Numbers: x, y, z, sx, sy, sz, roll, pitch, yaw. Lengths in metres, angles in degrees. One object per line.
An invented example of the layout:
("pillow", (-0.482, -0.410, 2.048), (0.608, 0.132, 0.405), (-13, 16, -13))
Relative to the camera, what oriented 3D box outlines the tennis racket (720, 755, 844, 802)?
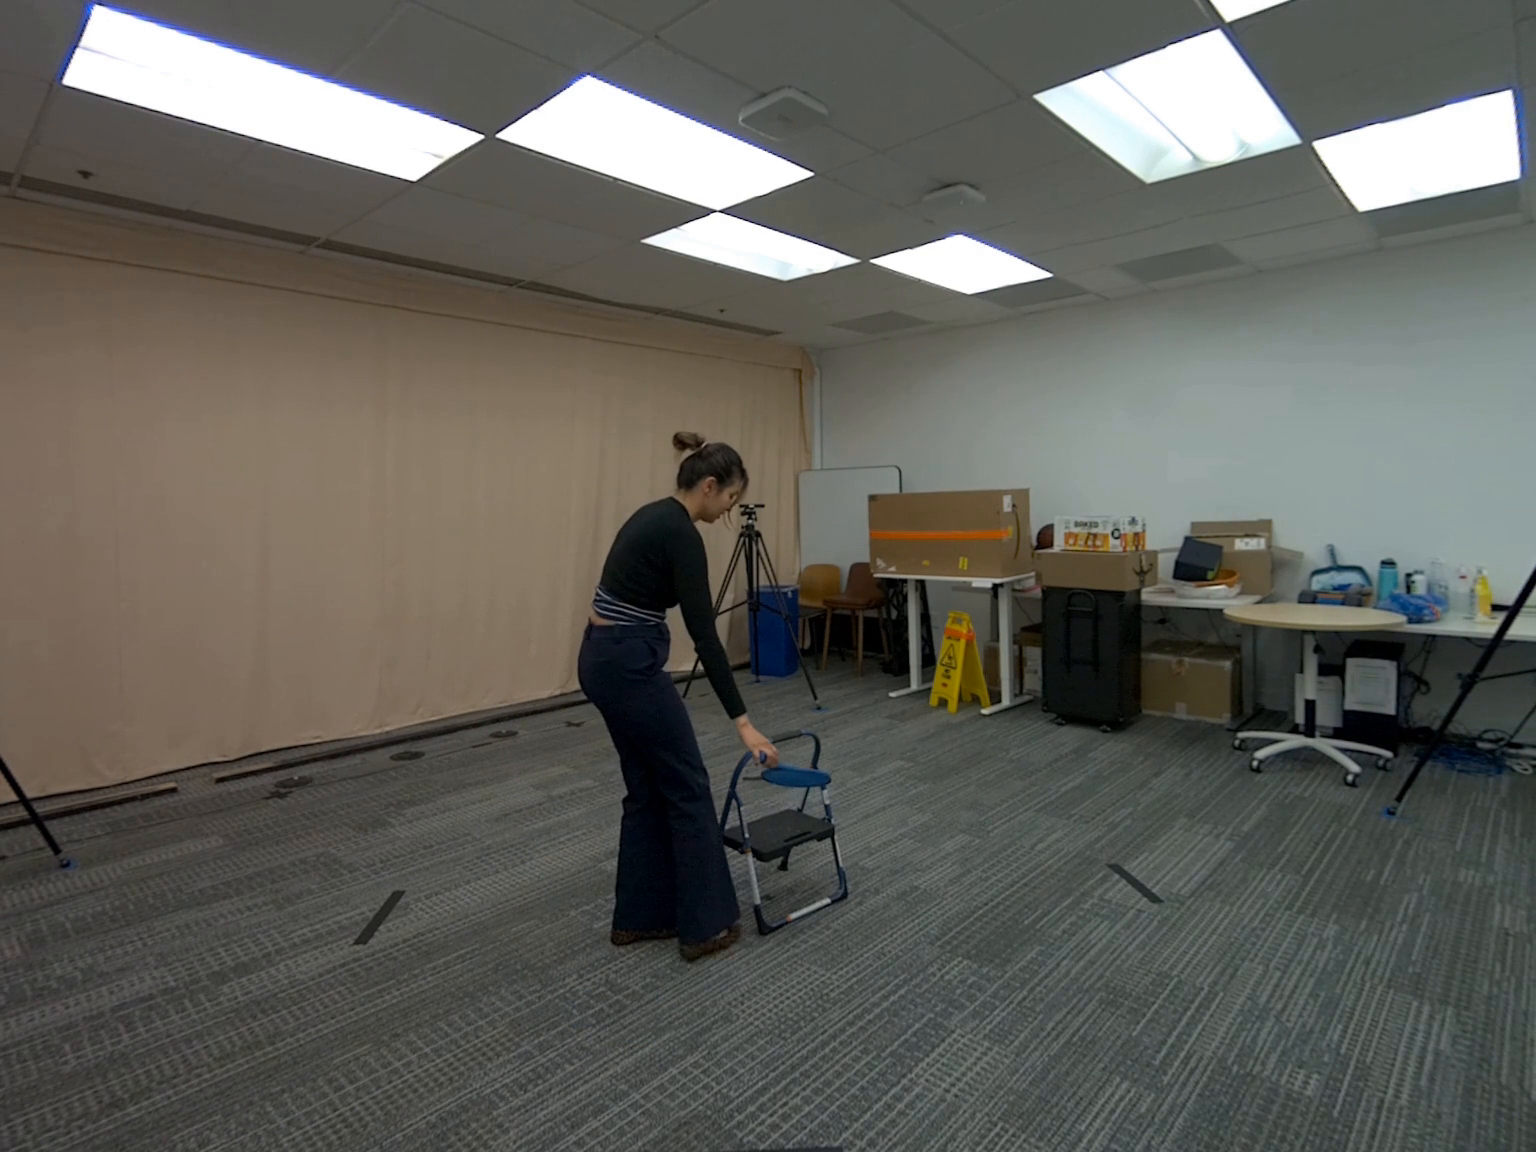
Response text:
("tennis racket", (0.049, 0.610, 2.532), (0.218, 0.032, 0.418), (-9, -29, 24))
